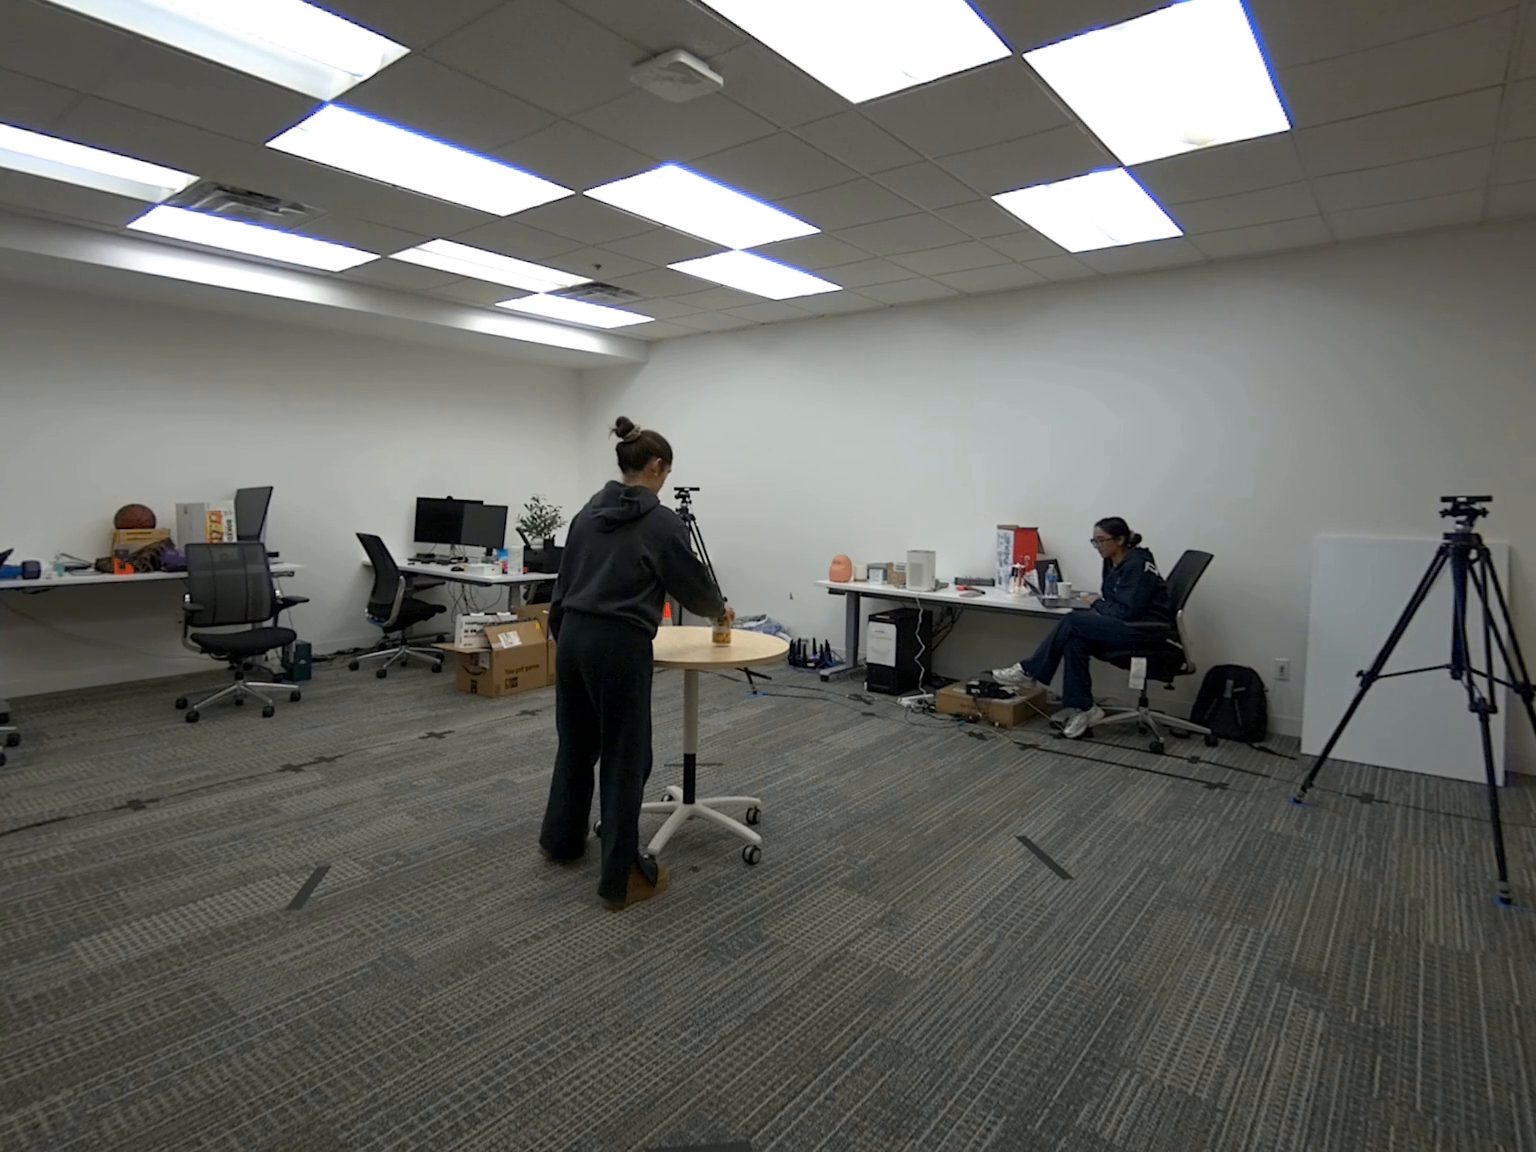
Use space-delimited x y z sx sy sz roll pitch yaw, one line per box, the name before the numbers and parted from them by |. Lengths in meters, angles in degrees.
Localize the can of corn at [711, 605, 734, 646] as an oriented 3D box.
can of corn | -0.194 0.201 3.288 0.074 0.110 0.074 2 5 -2
